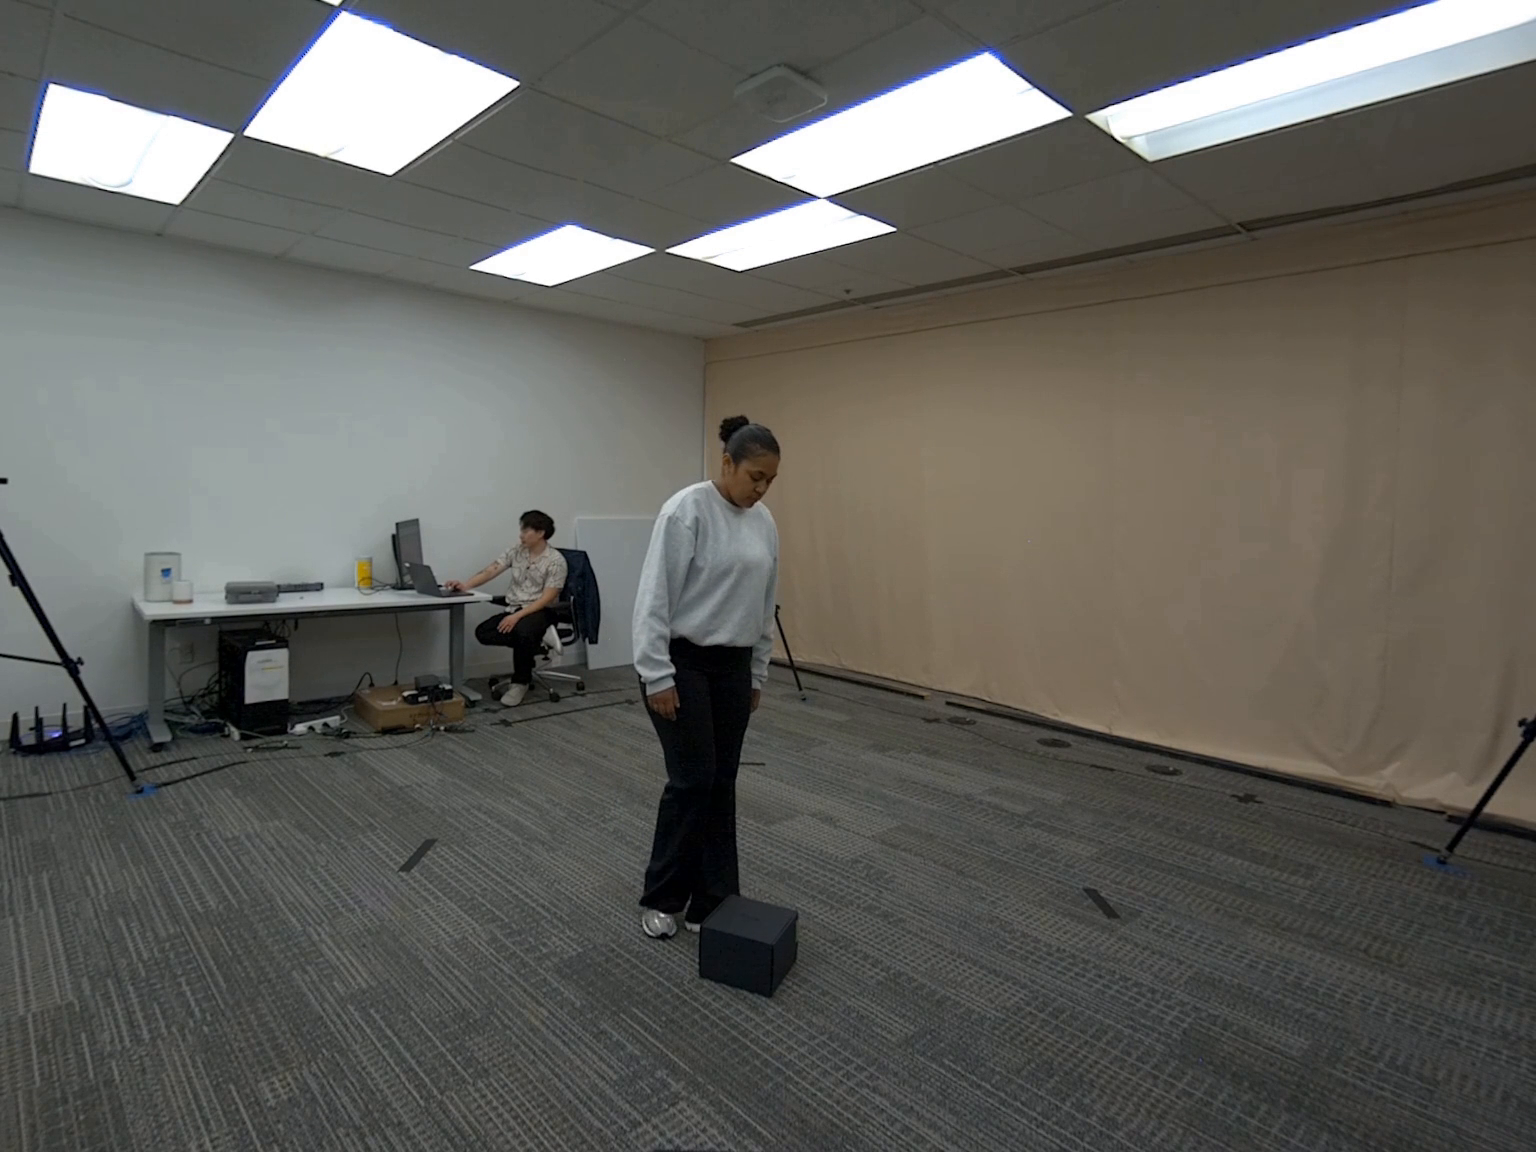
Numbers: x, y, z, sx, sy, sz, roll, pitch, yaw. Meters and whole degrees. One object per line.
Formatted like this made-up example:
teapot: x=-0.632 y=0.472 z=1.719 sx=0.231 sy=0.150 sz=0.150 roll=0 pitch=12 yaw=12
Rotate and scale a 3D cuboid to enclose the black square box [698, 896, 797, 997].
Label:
black square box: x=-0.057 y=1.082 z=2.481 sx=0.232 sy=0.155 sz=0.214 roll=3 pitch=5 yaw=23
